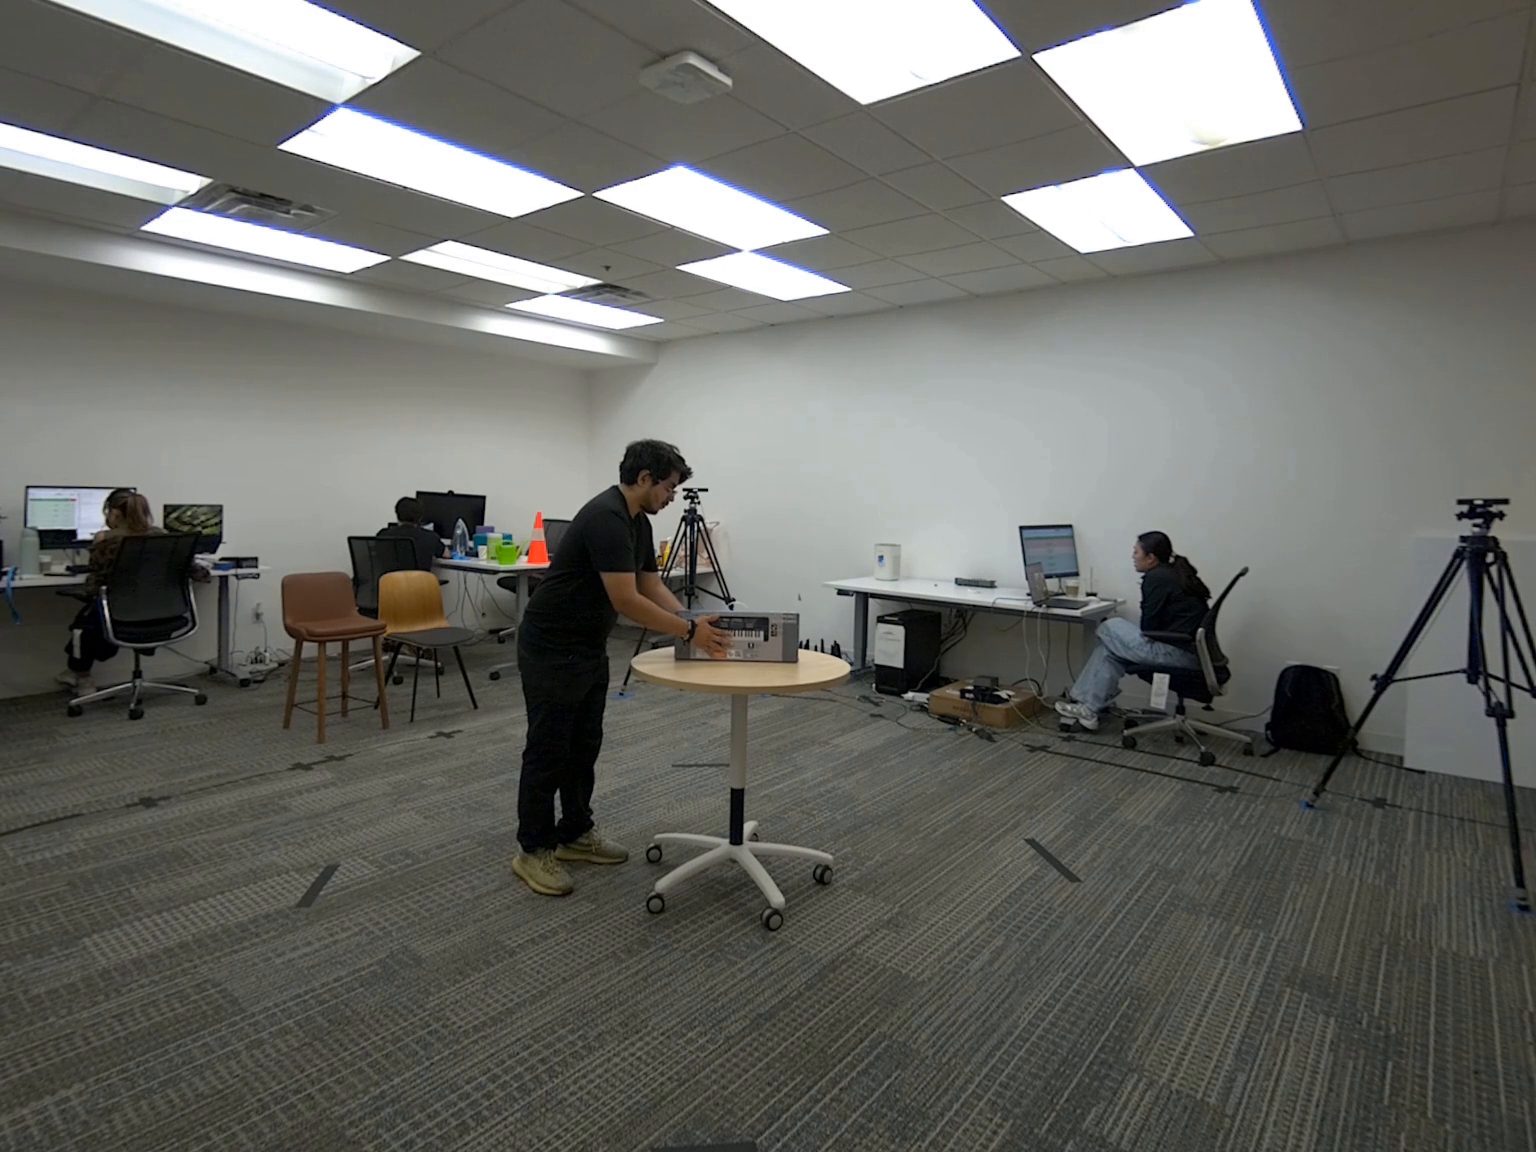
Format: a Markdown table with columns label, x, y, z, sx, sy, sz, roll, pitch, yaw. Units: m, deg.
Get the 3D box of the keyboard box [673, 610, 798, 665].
| label | x | y | z | sx | sy | sz | roll | pitch | yaw |
| --- | --- | --- | --- | --- | --- | --- | --- | --- | --- |
| keyboard box | -0.117 | 0.217 | 3.012 | 0.437 | 0.176 | 0.059 | 1 | -2 | 1 |
